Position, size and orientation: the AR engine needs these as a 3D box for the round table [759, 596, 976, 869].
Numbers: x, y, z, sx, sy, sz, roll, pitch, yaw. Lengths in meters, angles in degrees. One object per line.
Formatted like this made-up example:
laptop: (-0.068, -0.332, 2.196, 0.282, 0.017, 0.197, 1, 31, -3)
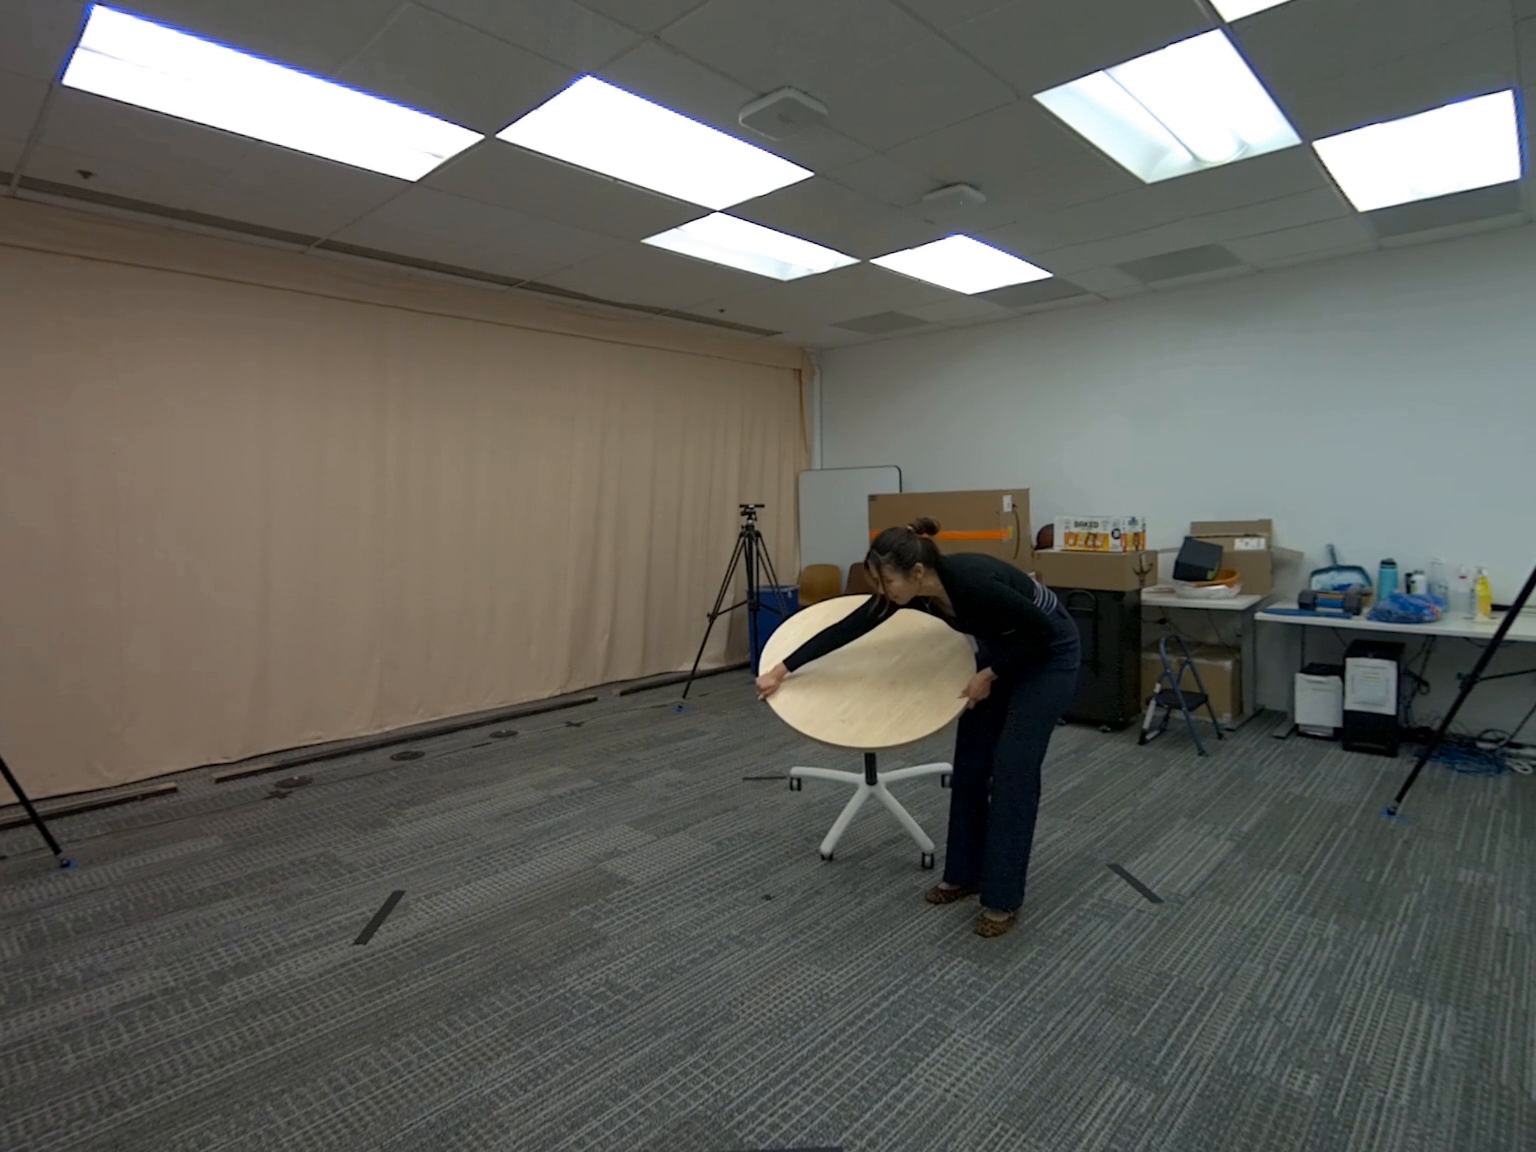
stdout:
round table: (0.391, 0.625, 3.257, 0.767, 0.776, 0.778, -7, 36, 3)
